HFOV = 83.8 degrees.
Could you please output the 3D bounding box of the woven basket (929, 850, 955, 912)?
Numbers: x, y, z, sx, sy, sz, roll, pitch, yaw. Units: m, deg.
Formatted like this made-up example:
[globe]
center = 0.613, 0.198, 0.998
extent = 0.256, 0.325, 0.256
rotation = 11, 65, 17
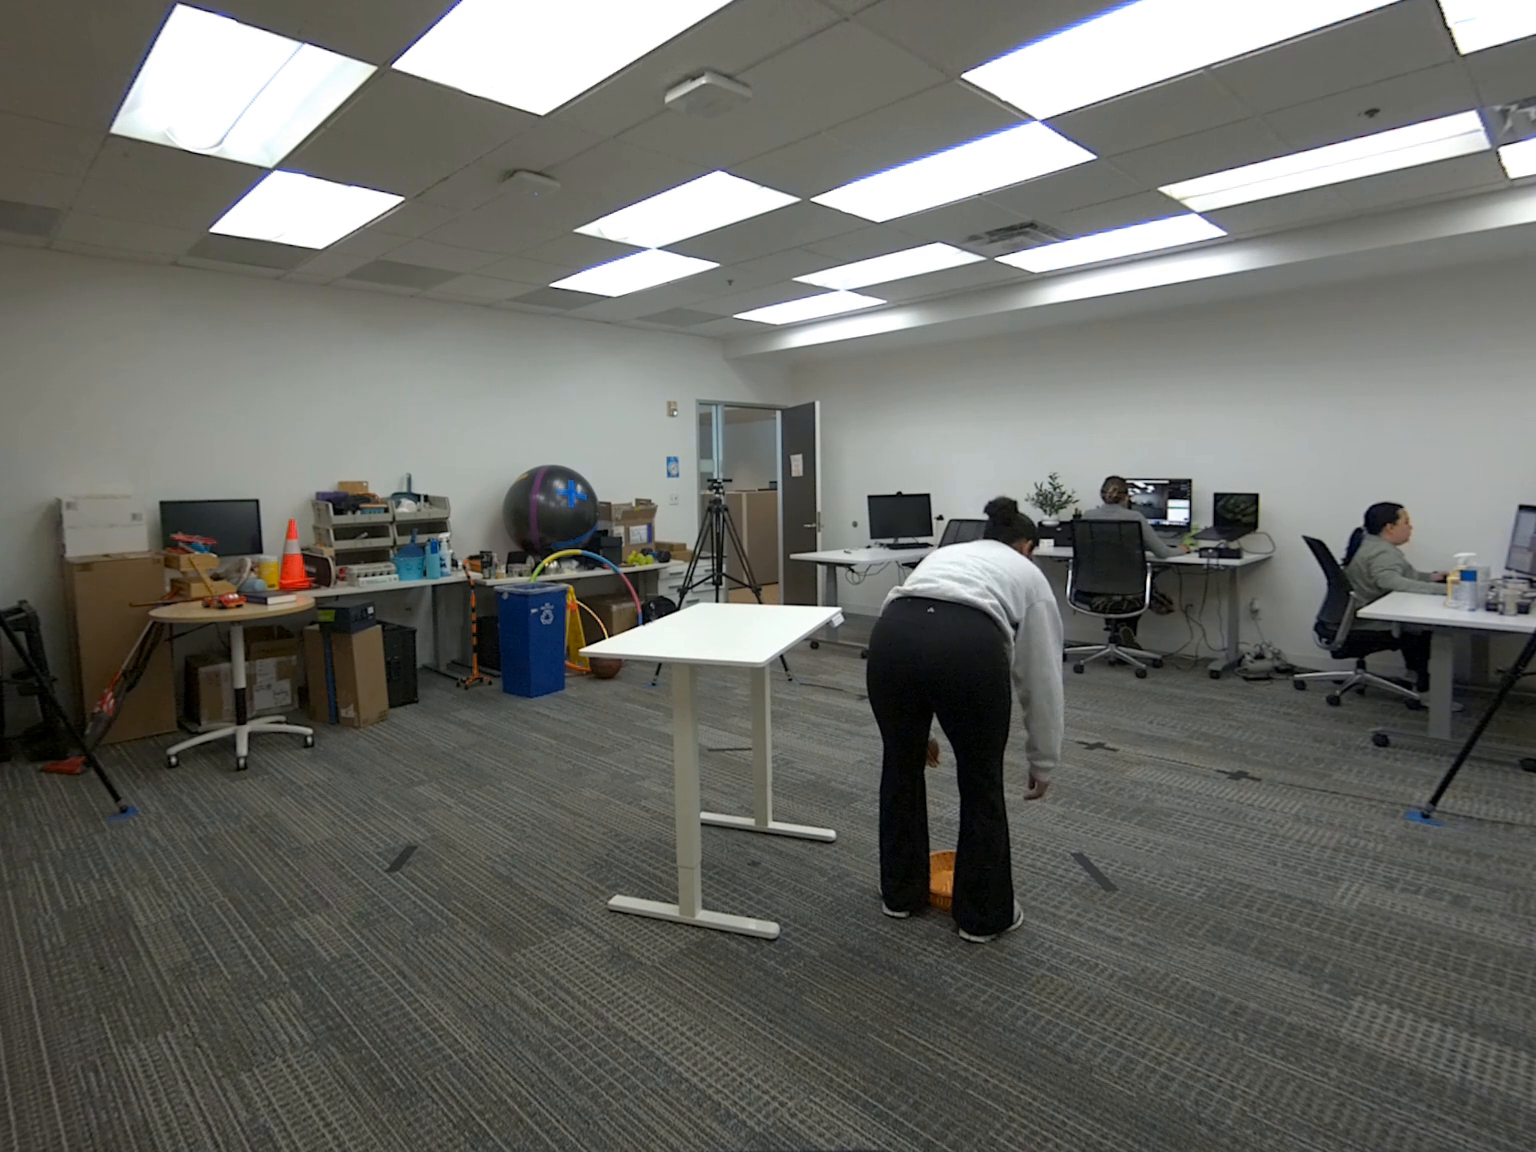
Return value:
[woven basket]
center = 0.623, 1.021, 2.868
extent = 0.259, 0.073, 0.342
rotation = 4, 7, 33
